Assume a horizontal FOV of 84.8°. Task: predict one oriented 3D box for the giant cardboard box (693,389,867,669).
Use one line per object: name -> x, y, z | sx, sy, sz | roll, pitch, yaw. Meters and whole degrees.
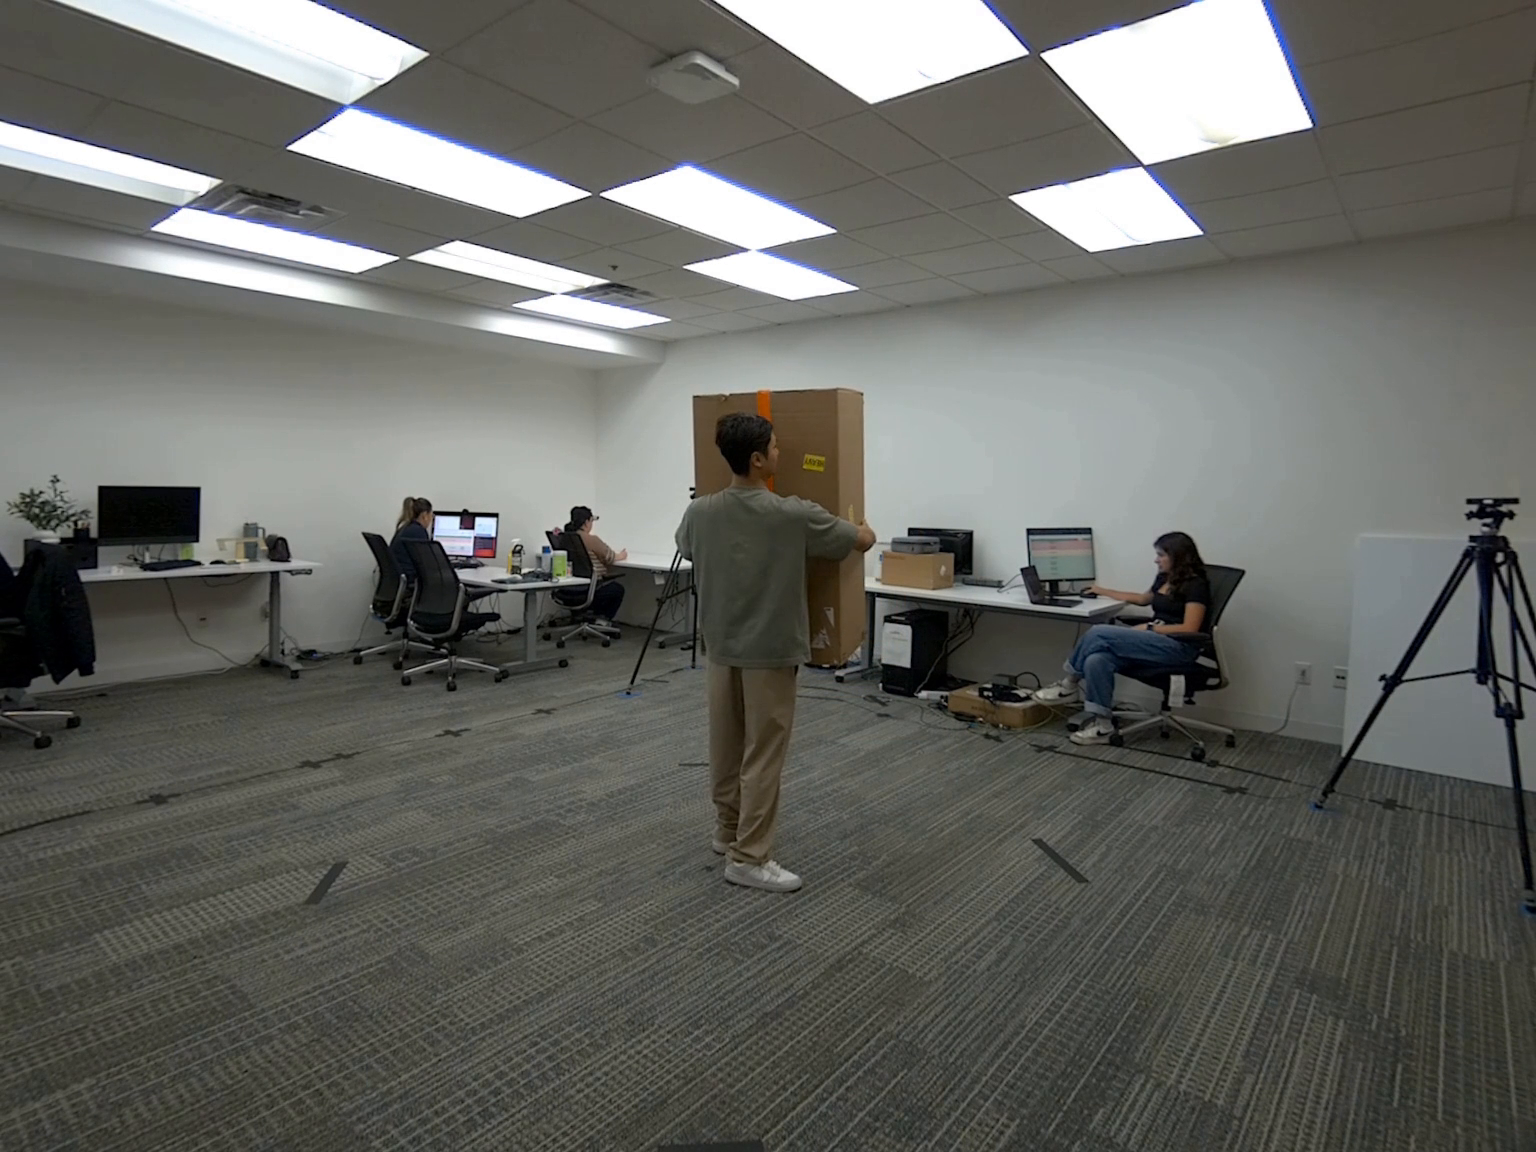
giant cardboard box -> 0.053, -0.218, 3.389 | 0.591, 1.019, 0.419 | 2, 7, 22
